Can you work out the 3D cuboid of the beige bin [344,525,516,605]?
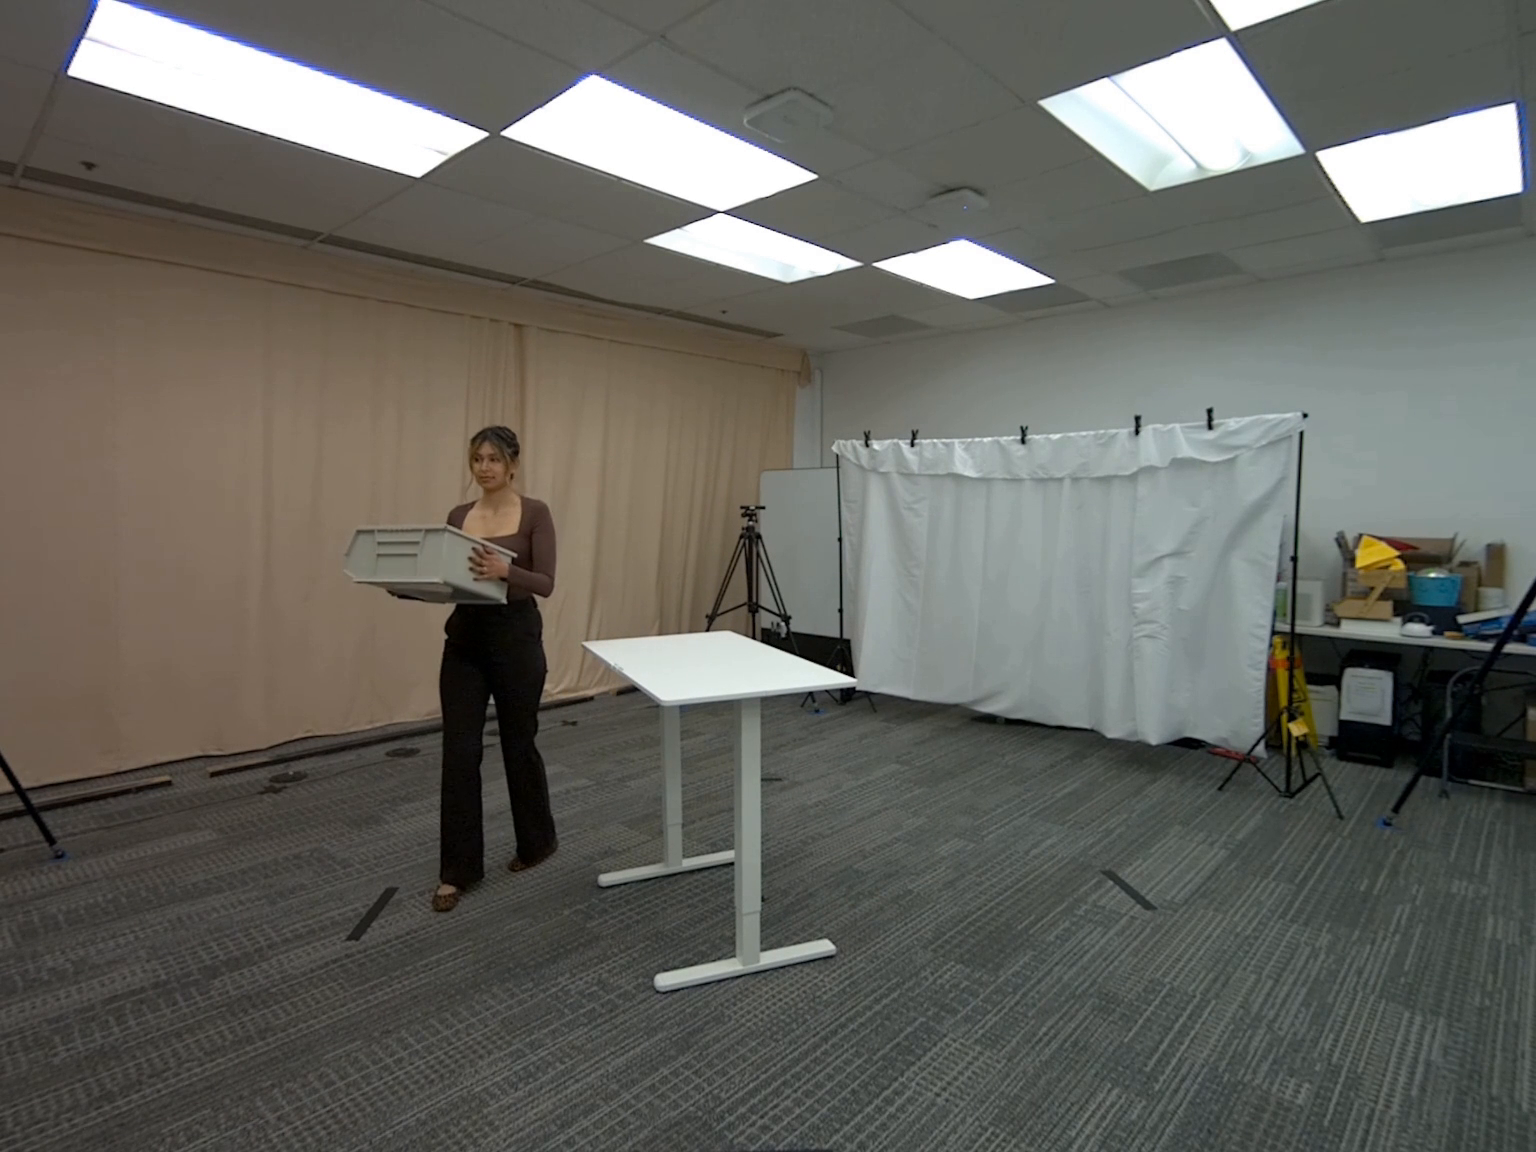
[{"bbox_3d":[-1.122,-0.032,2.805,0.384,0.190,0.412,1,-12,16],"label":"beige bin"}]
